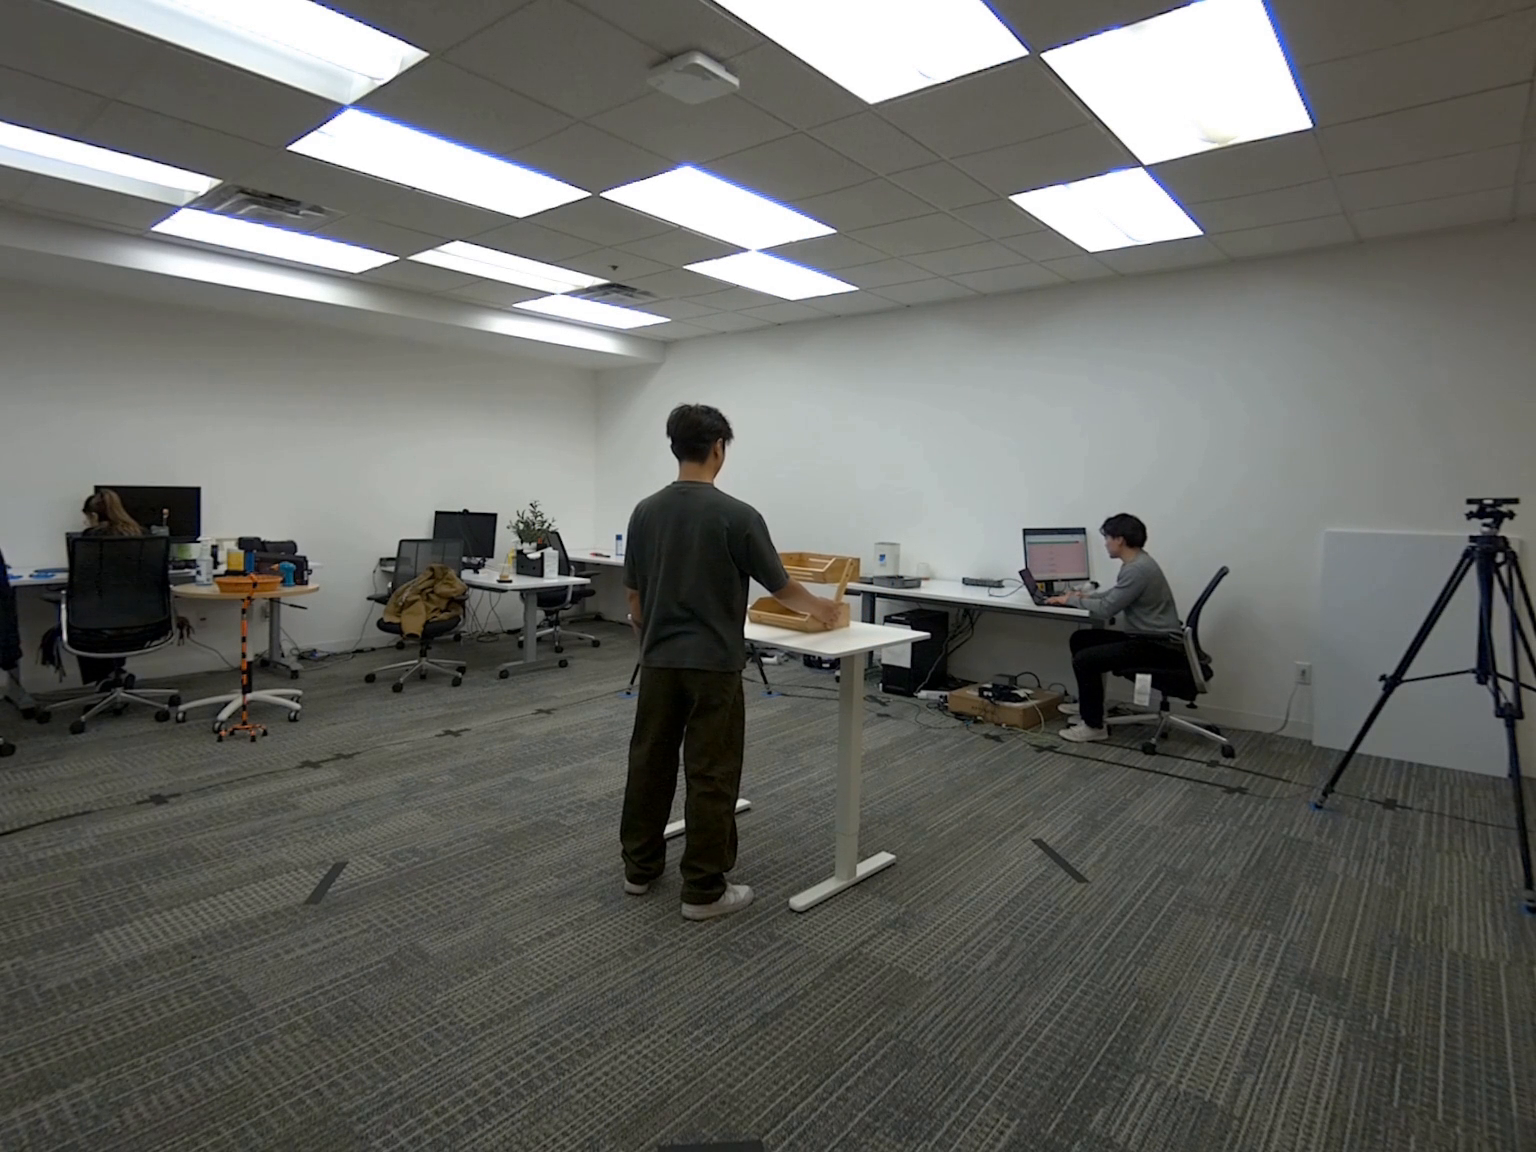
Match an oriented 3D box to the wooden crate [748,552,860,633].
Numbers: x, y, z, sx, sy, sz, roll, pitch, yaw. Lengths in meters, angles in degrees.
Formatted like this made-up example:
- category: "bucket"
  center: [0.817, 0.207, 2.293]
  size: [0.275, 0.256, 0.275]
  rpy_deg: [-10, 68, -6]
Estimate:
- category: "wooden crate"
  center: [0.121, 0.046, 3.227]
  size: [0.336, 0.272, 0.293]
  rpy_deg: [6, 6, 44]
